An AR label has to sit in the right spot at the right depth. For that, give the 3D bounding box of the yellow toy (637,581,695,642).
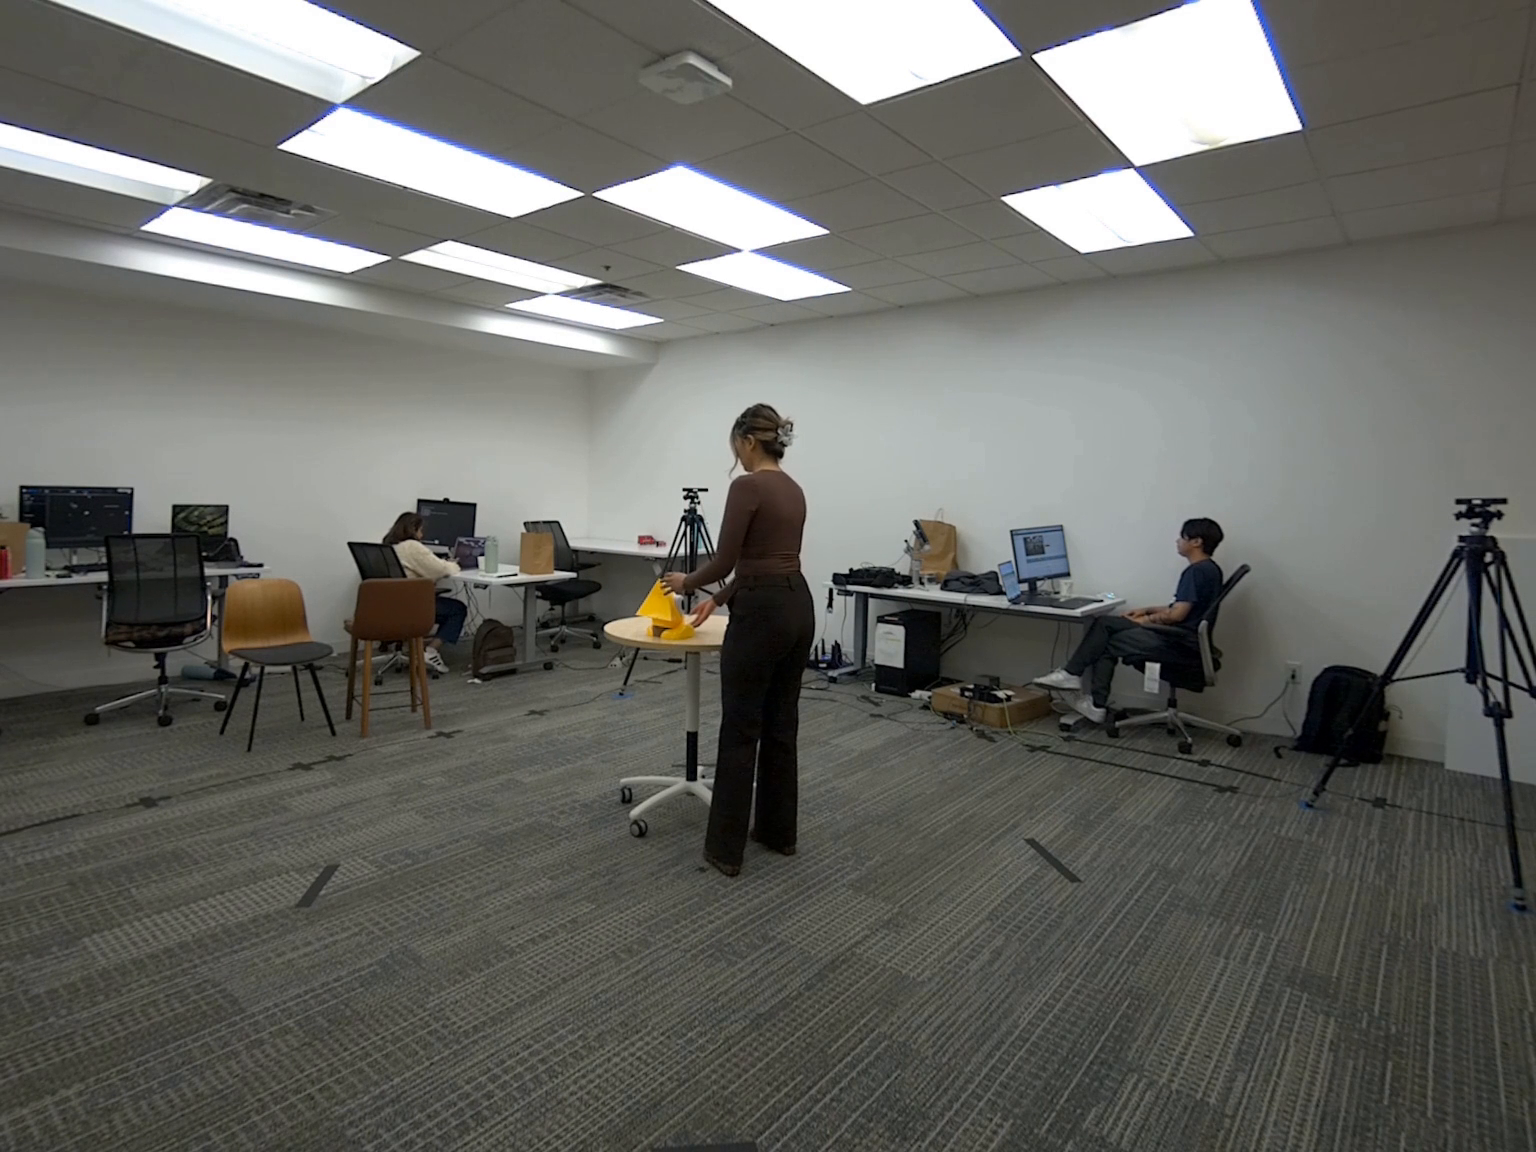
[{"bbox_3d":[-0.412,0.124,3.444,0.212,0.230,0.187,4,5,41],"label":"yellow toy"}]
